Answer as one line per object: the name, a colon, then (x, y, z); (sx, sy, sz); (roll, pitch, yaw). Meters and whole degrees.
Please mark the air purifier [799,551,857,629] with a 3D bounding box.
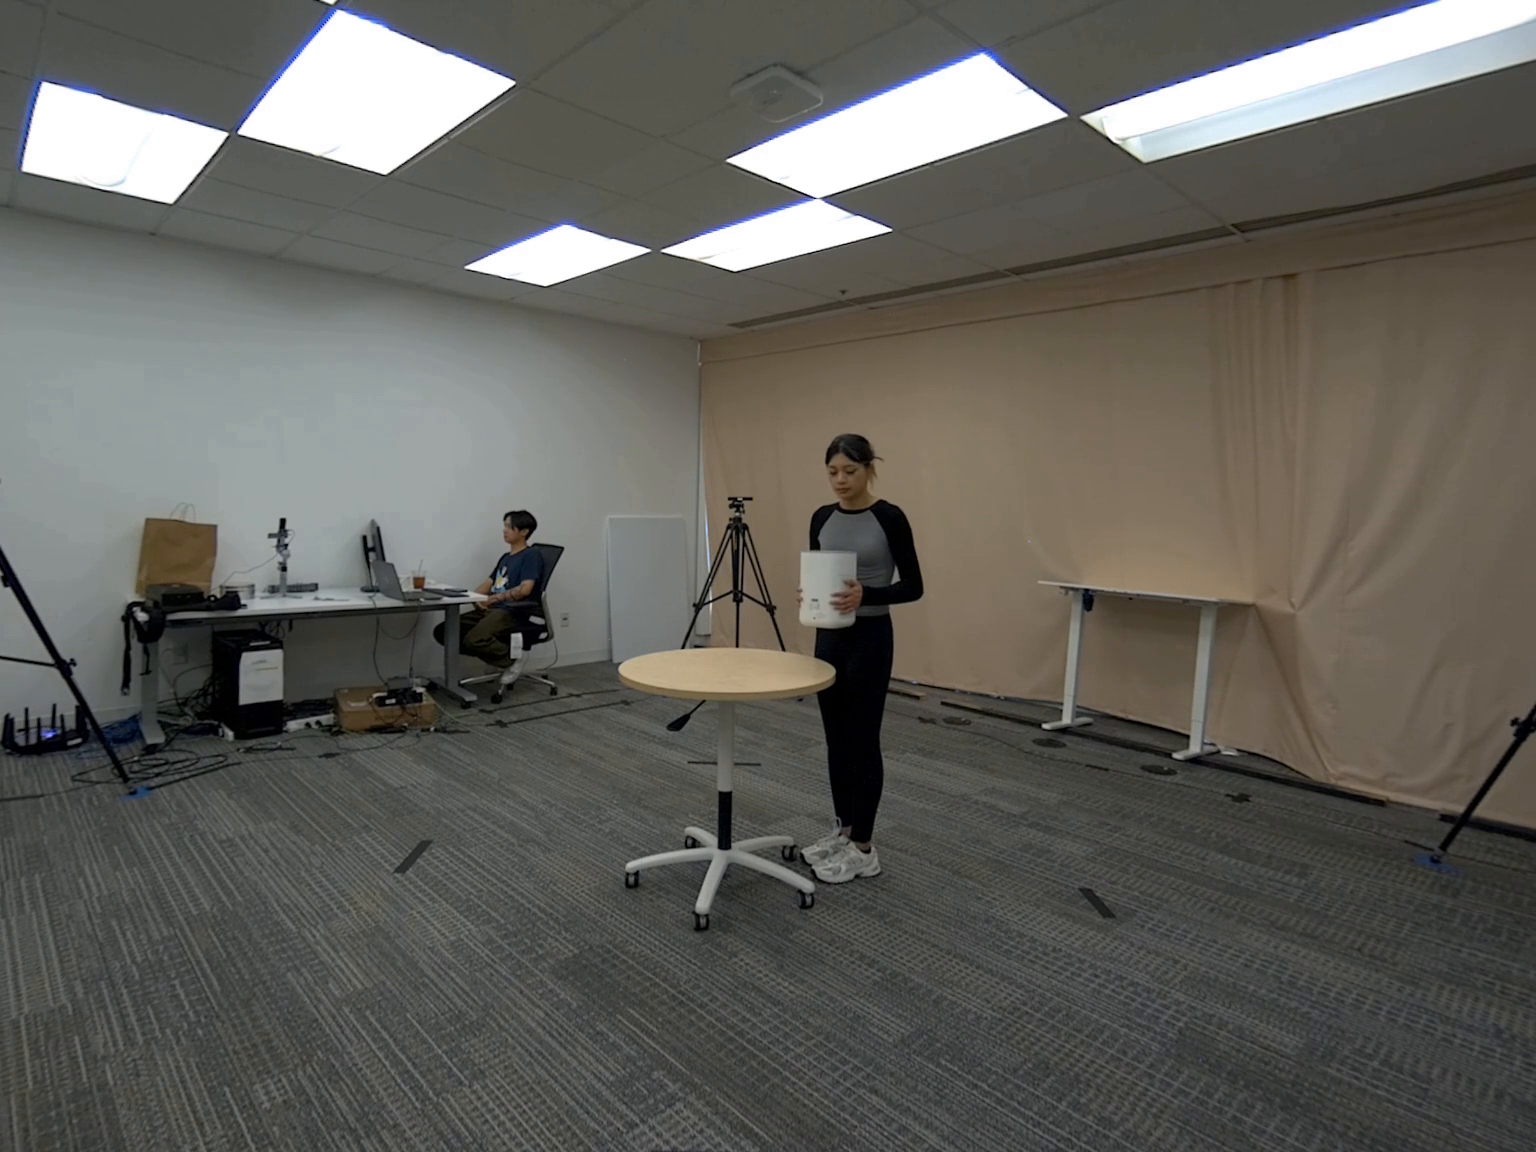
air purifier: (0.206, 0.048, 2.964); (0.175, 0.265, 0.167); (2, 1, 37)
